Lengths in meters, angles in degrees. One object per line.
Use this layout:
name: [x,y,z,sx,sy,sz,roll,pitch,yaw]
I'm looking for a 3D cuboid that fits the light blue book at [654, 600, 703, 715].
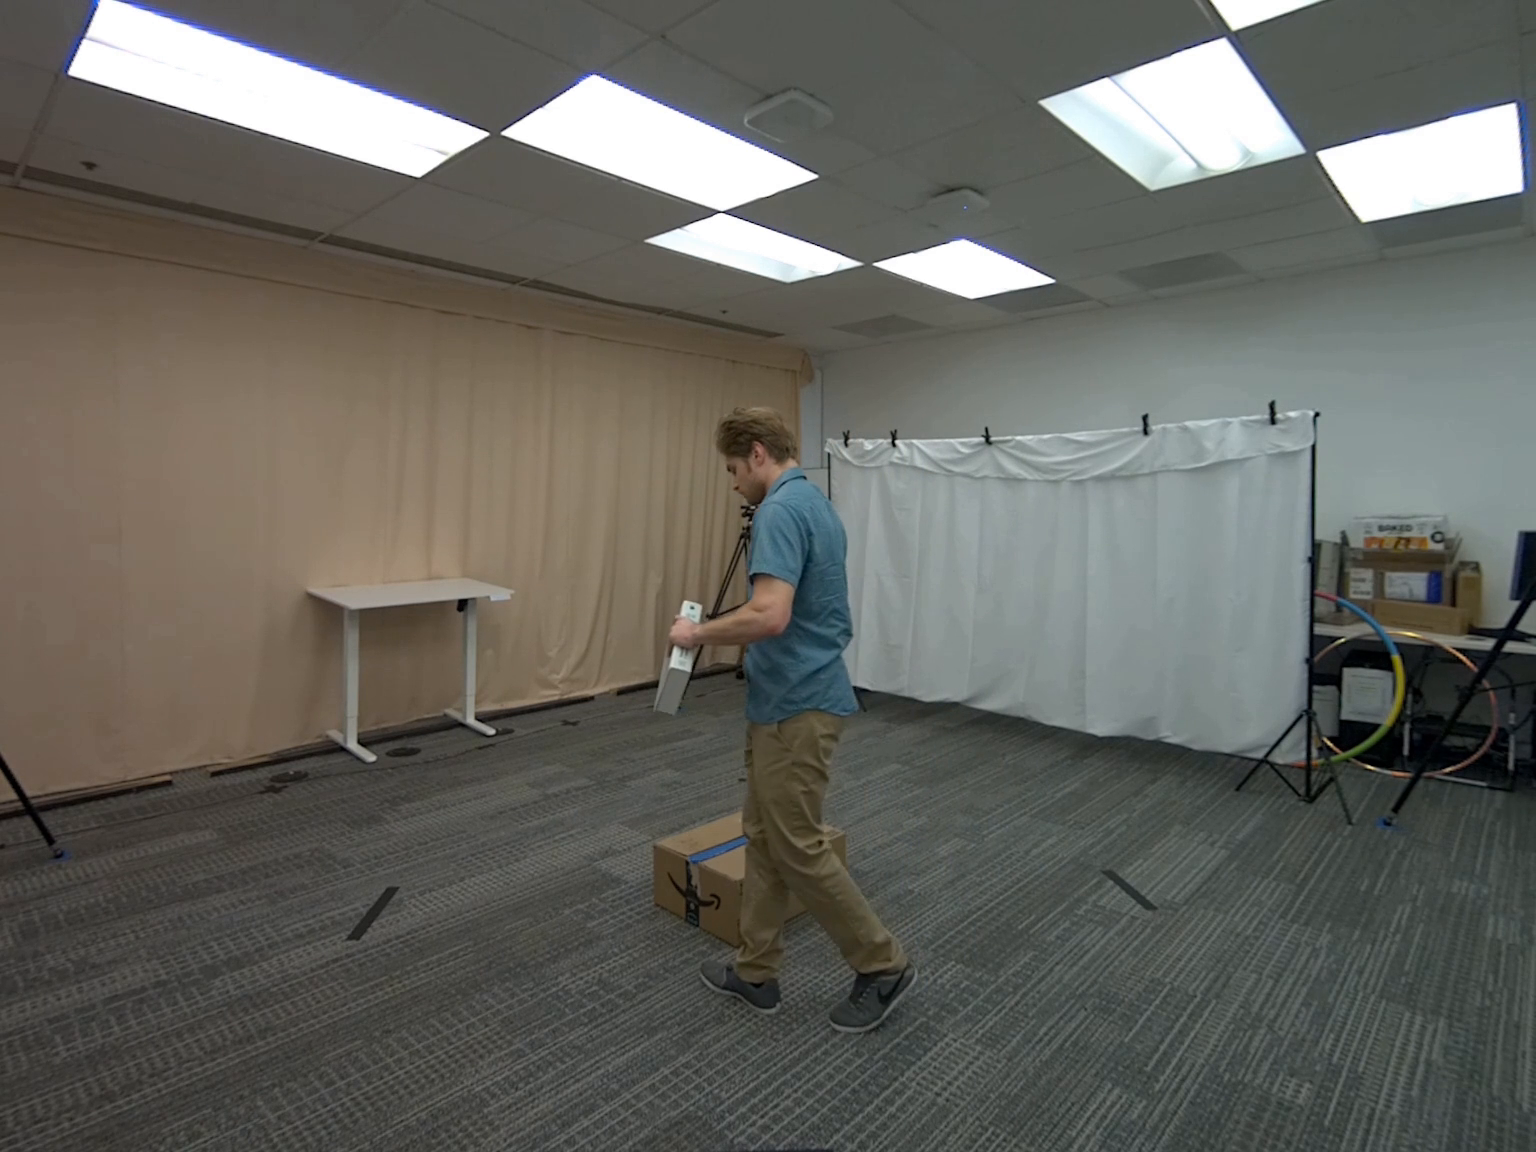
light blue book: [-0.240,0.231,2.317,0.058,0.190,0.264,18,38,-8]
